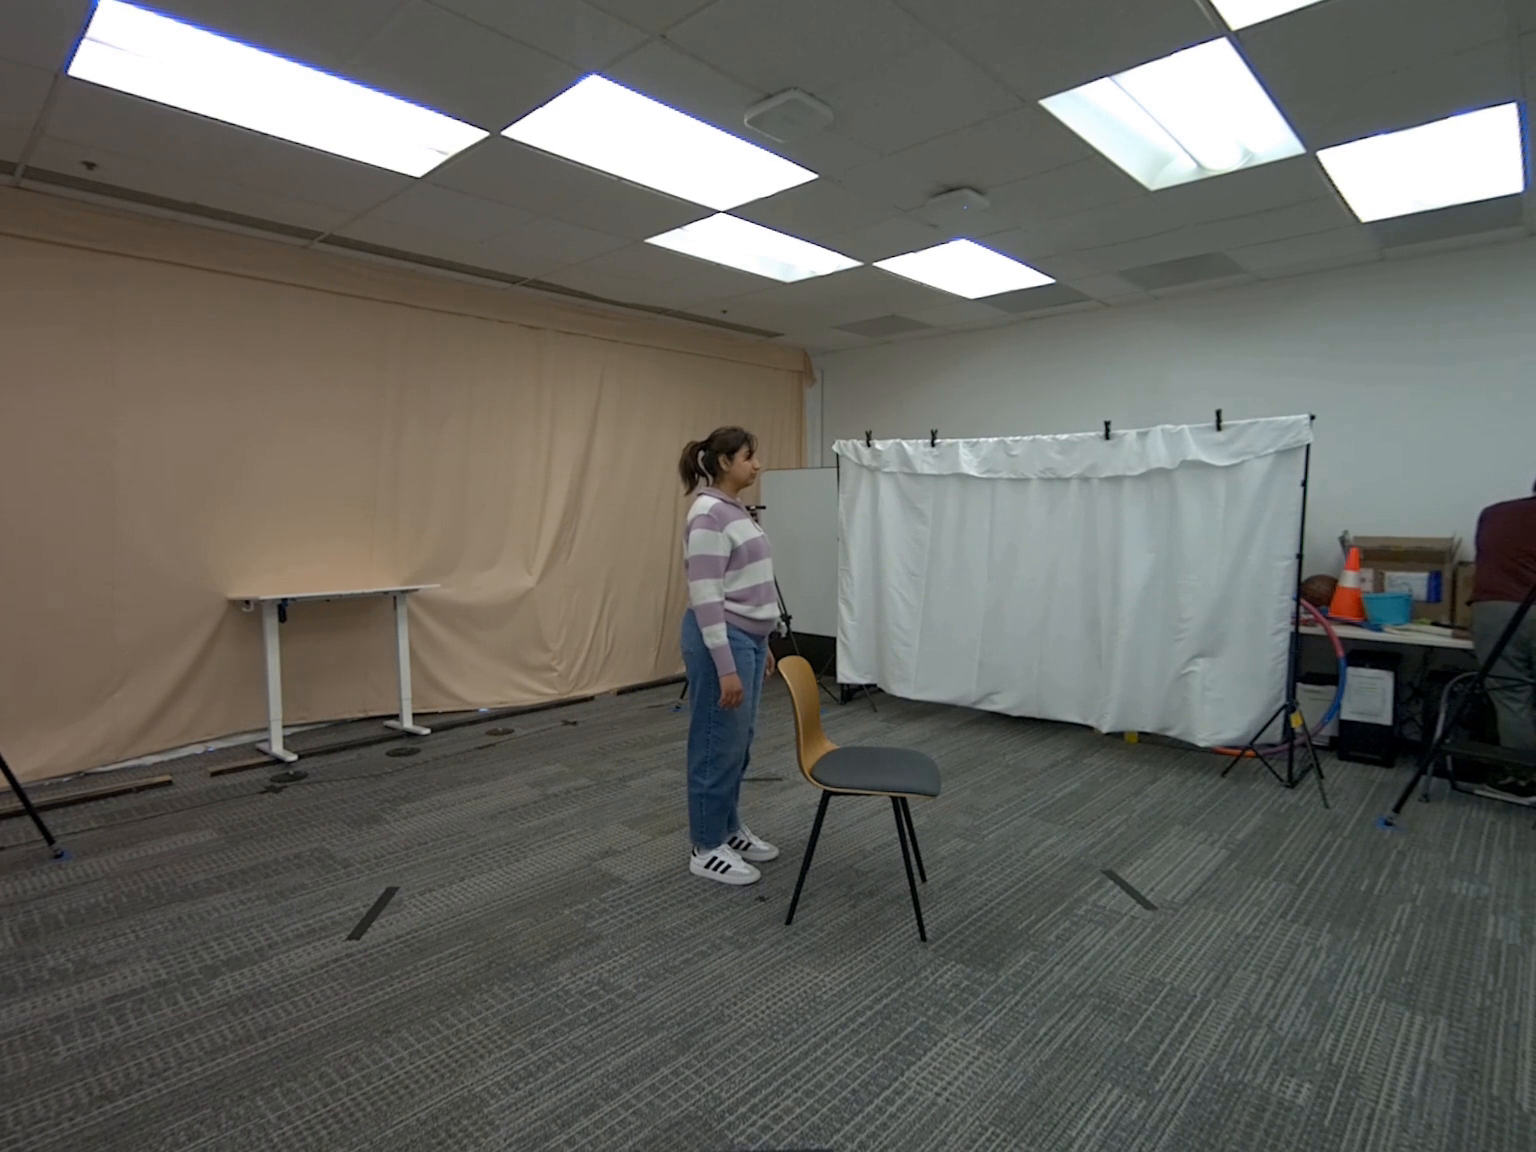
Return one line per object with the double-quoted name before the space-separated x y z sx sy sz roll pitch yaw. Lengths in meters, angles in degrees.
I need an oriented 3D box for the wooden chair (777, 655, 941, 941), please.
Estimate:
"wooden chair" 0.333 0.722 2.917 0.531 0.876 0.472 -3 2 13
